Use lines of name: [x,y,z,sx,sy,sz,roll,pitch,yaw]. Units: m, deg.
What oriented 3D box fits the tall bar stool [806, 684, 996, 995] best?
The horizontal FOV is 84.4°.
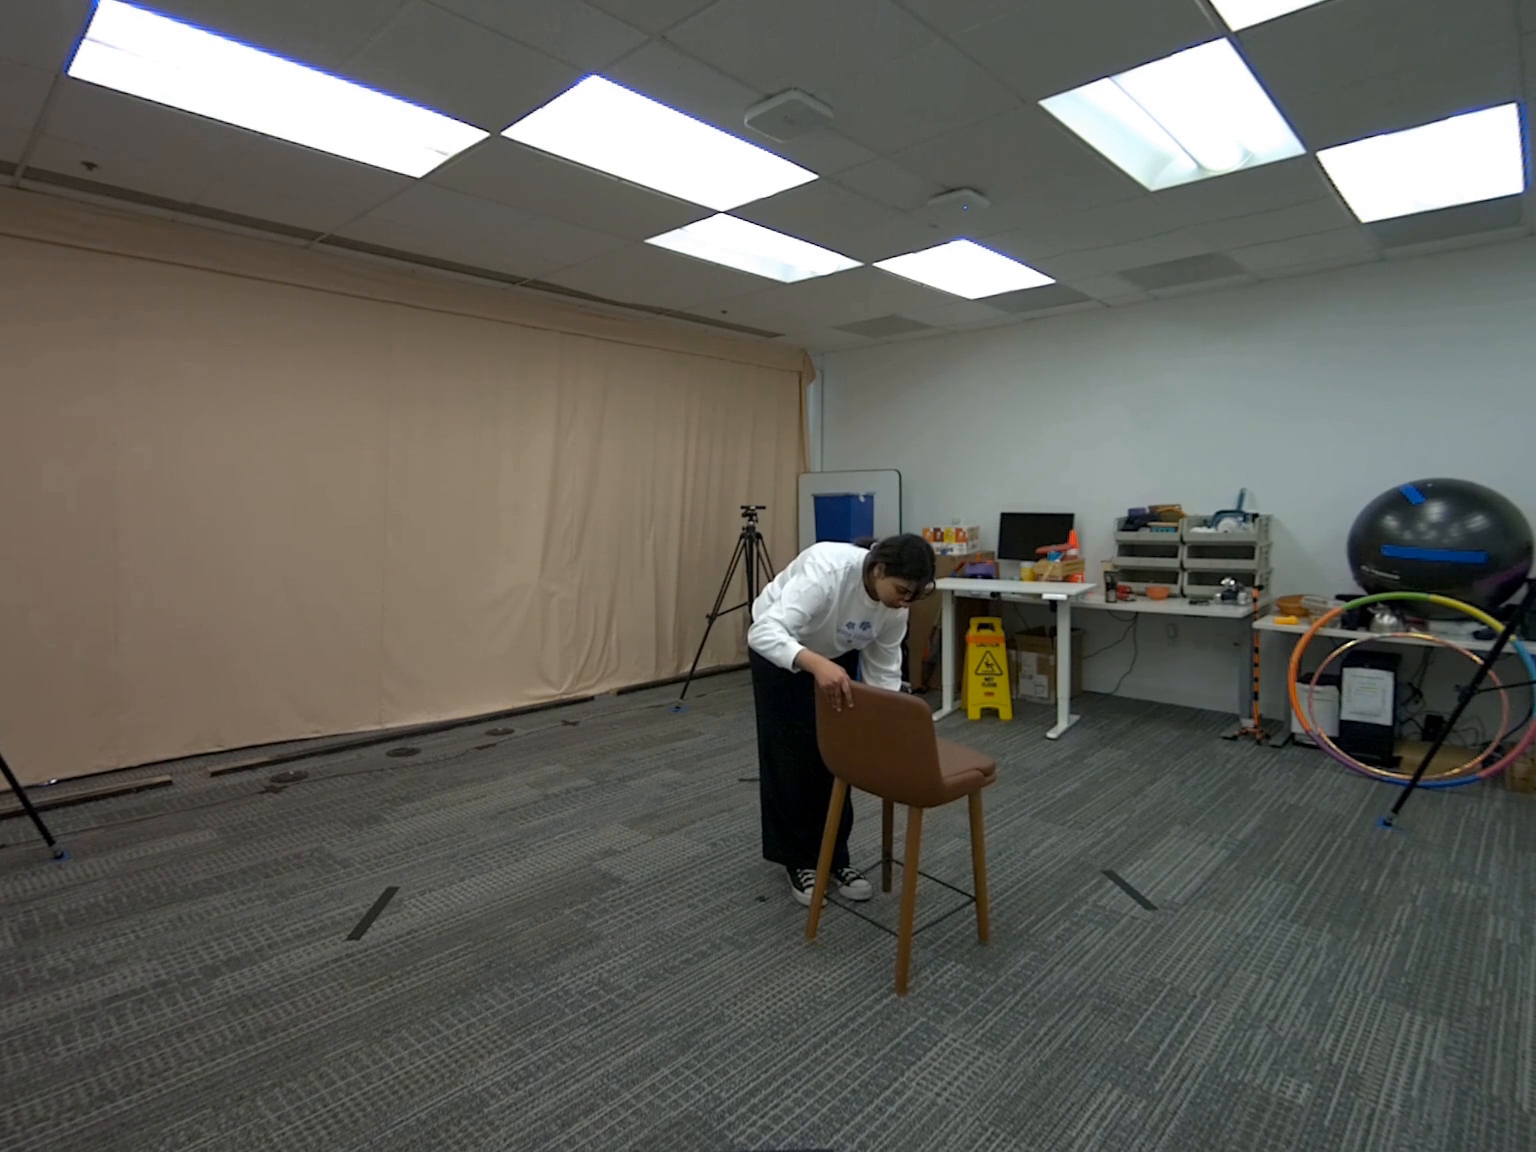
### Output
tall bar stool: [0.429,0.724,2.618,0.454,0.885,0.472,-8,12,-43]
